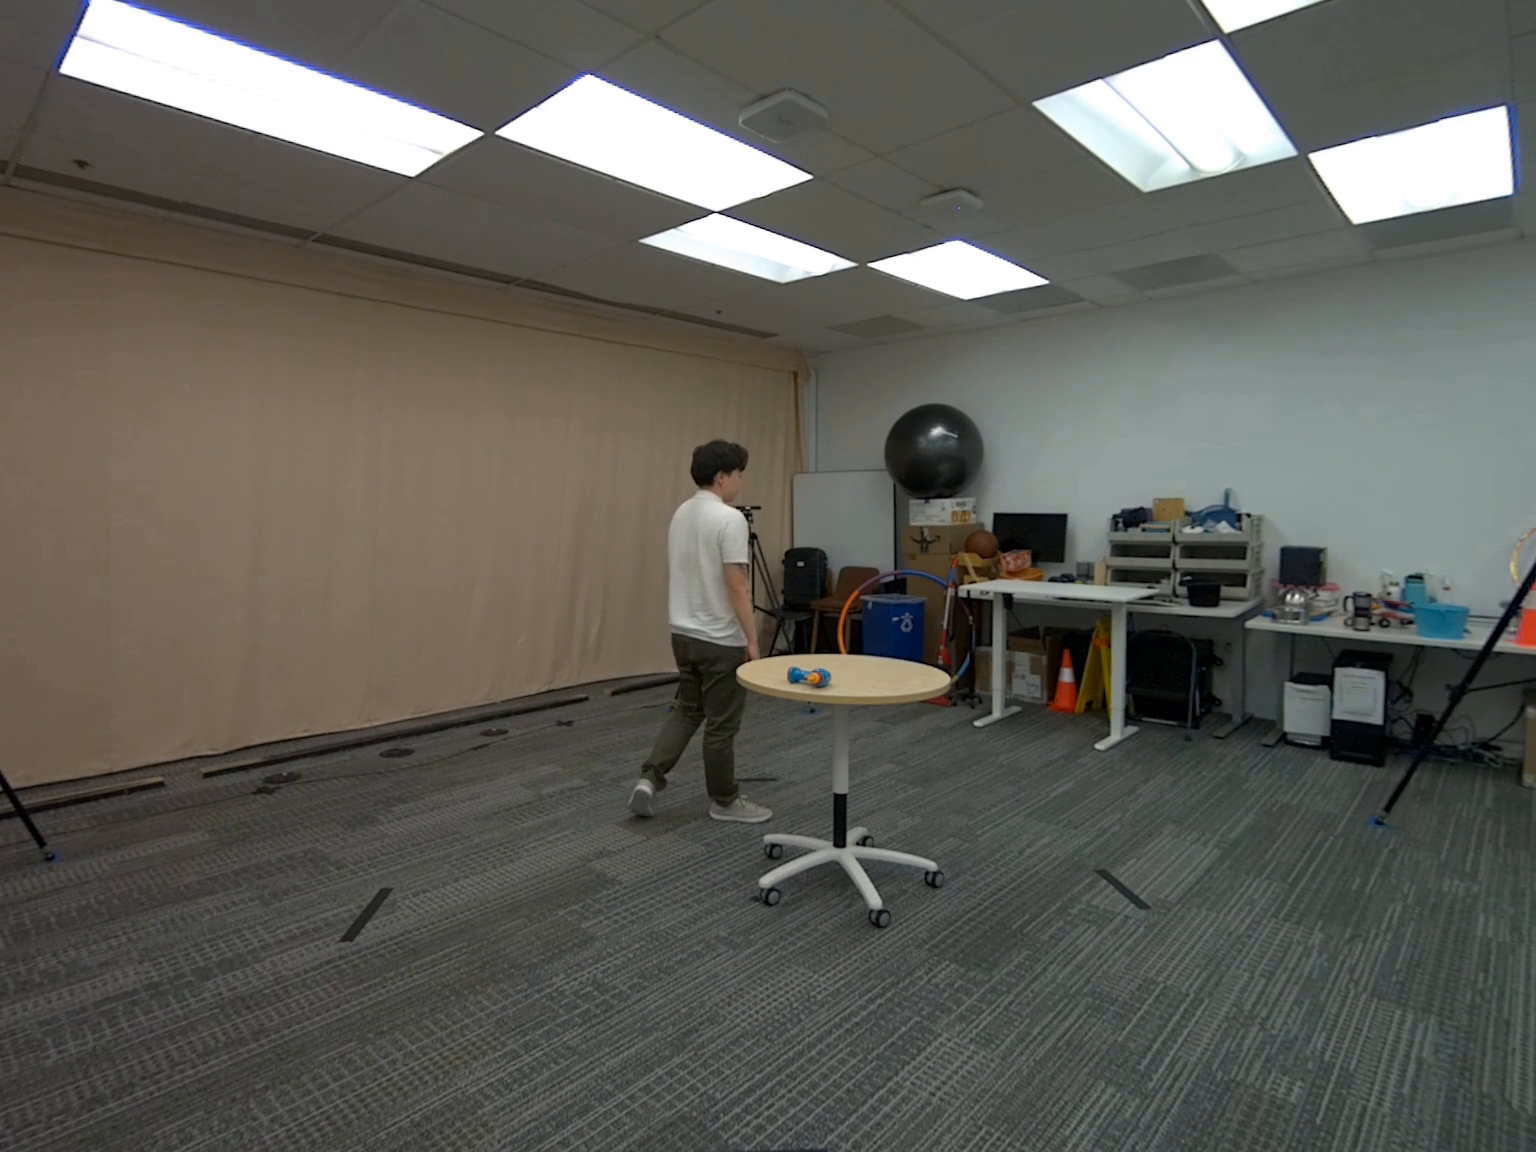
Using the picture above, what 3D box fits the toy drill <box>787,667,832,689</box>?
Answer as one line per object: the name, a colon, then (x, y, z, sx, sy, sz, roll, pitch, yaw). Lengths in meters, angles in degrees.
toy drill: (0.140, 0.341, 2.822, 0.150, 0.061, 0.165, 1, -3, 26)
